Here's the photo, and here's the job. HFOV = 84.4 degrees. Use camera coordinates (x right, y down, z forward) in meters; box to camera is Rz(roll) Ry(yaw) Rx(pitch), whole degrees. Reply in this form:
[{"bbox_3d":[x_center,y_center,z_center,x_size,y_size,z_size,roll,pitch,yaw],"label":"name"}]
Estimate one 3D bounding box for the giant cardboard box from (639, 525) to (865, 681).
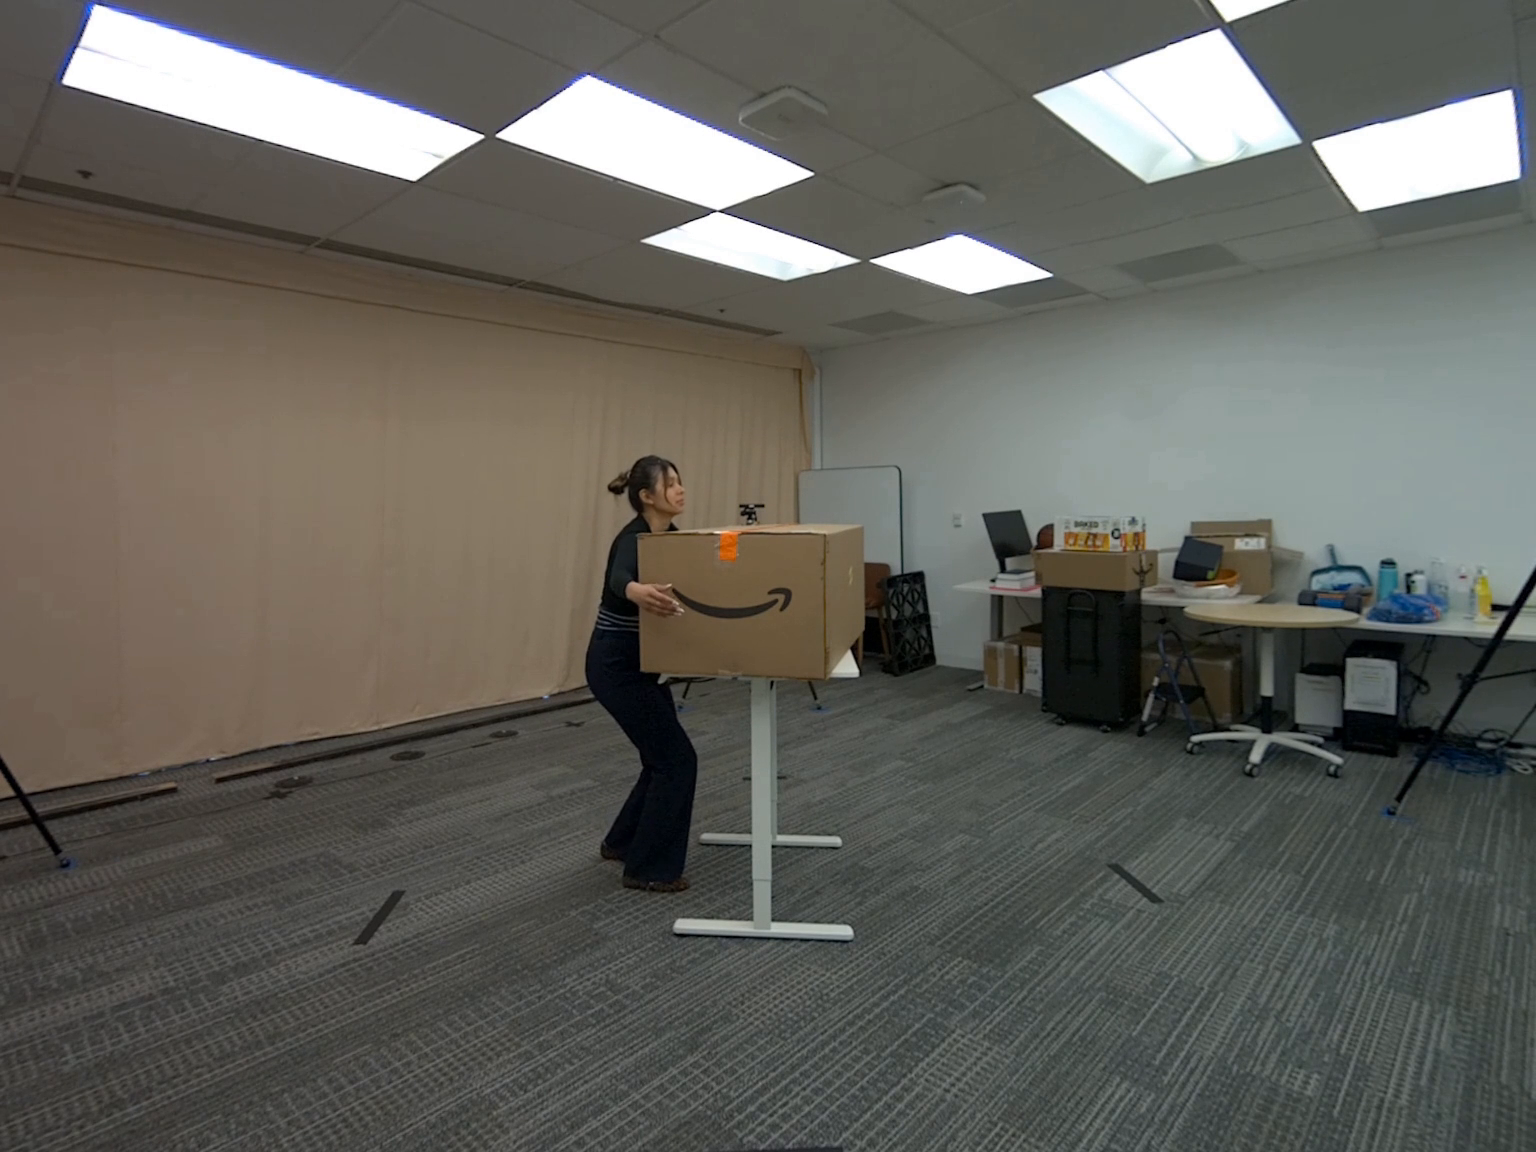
[{"bbox_3d":[0.002,0.044,2.974,0.587,0.425,1.012,0,4,14],"label":"giant cardboard box"}]
